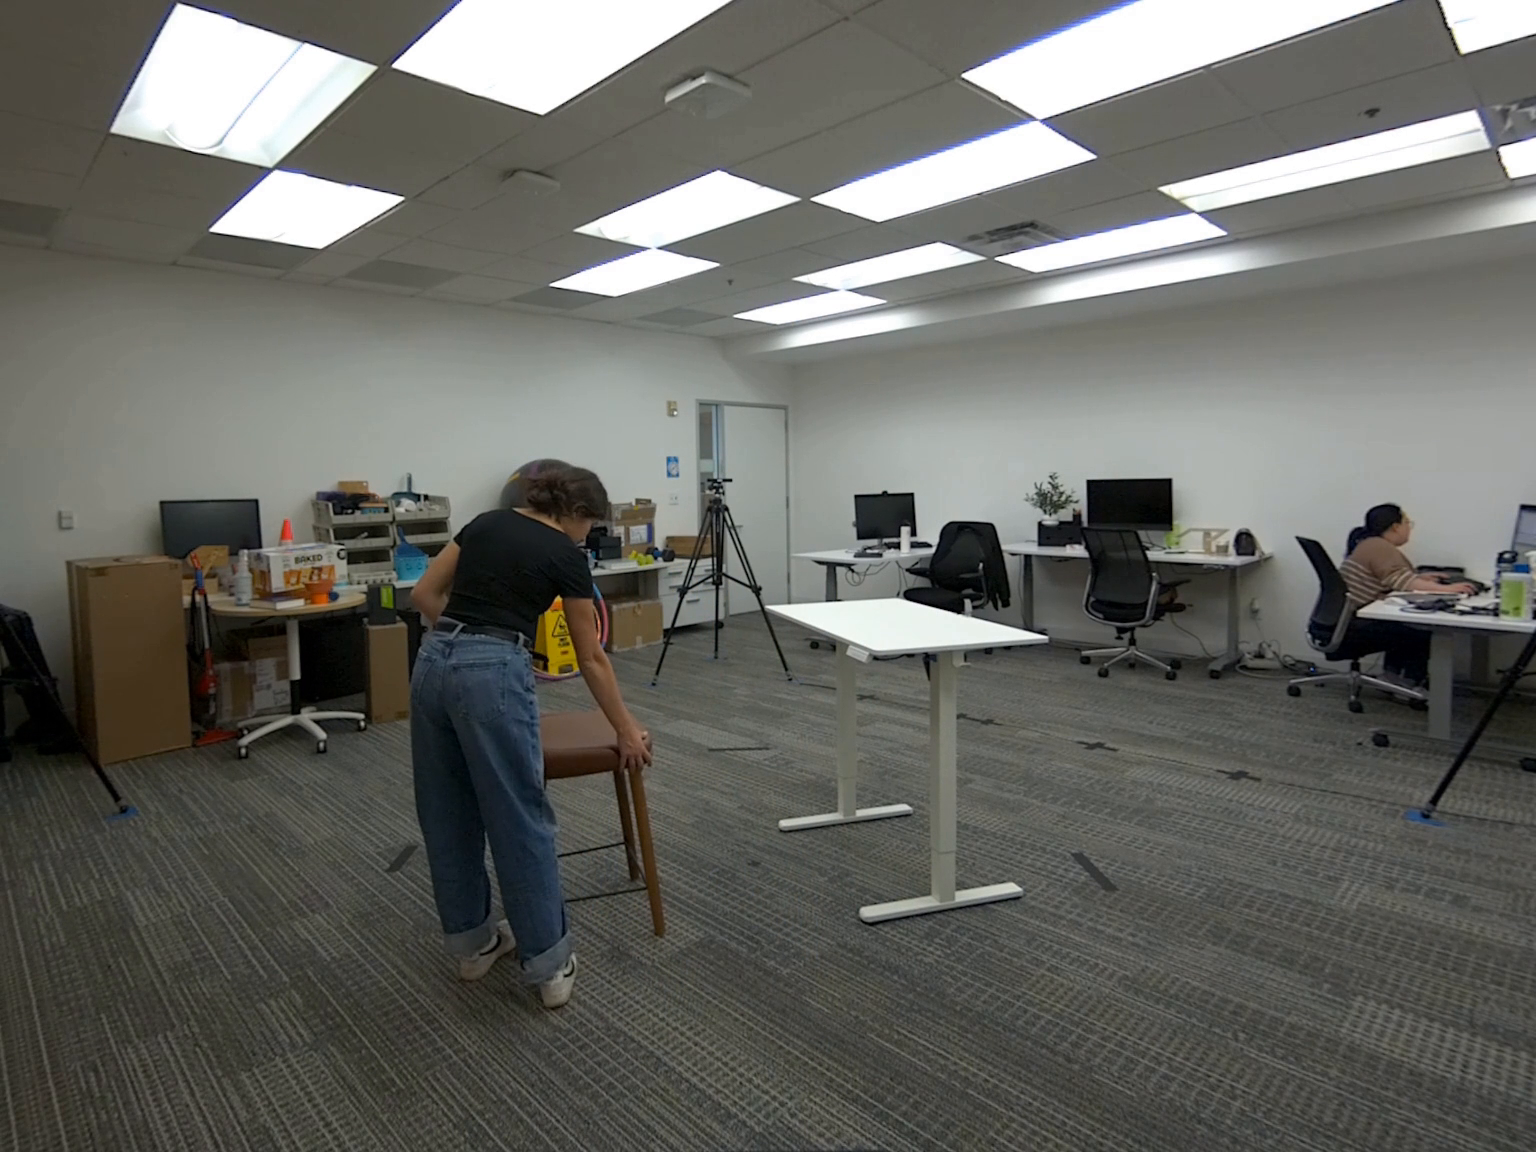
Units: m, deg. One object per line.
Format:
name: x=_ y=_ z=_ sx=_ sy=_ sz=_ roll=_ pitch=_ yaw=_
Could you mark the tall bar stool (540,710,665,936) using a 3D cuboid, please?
tall bar stool: x=-0.605 y=0.661 z=2.725 sx=0.460 sy=0.885 sz=0.466 roll=-5 pitch=6 yaw=-18
